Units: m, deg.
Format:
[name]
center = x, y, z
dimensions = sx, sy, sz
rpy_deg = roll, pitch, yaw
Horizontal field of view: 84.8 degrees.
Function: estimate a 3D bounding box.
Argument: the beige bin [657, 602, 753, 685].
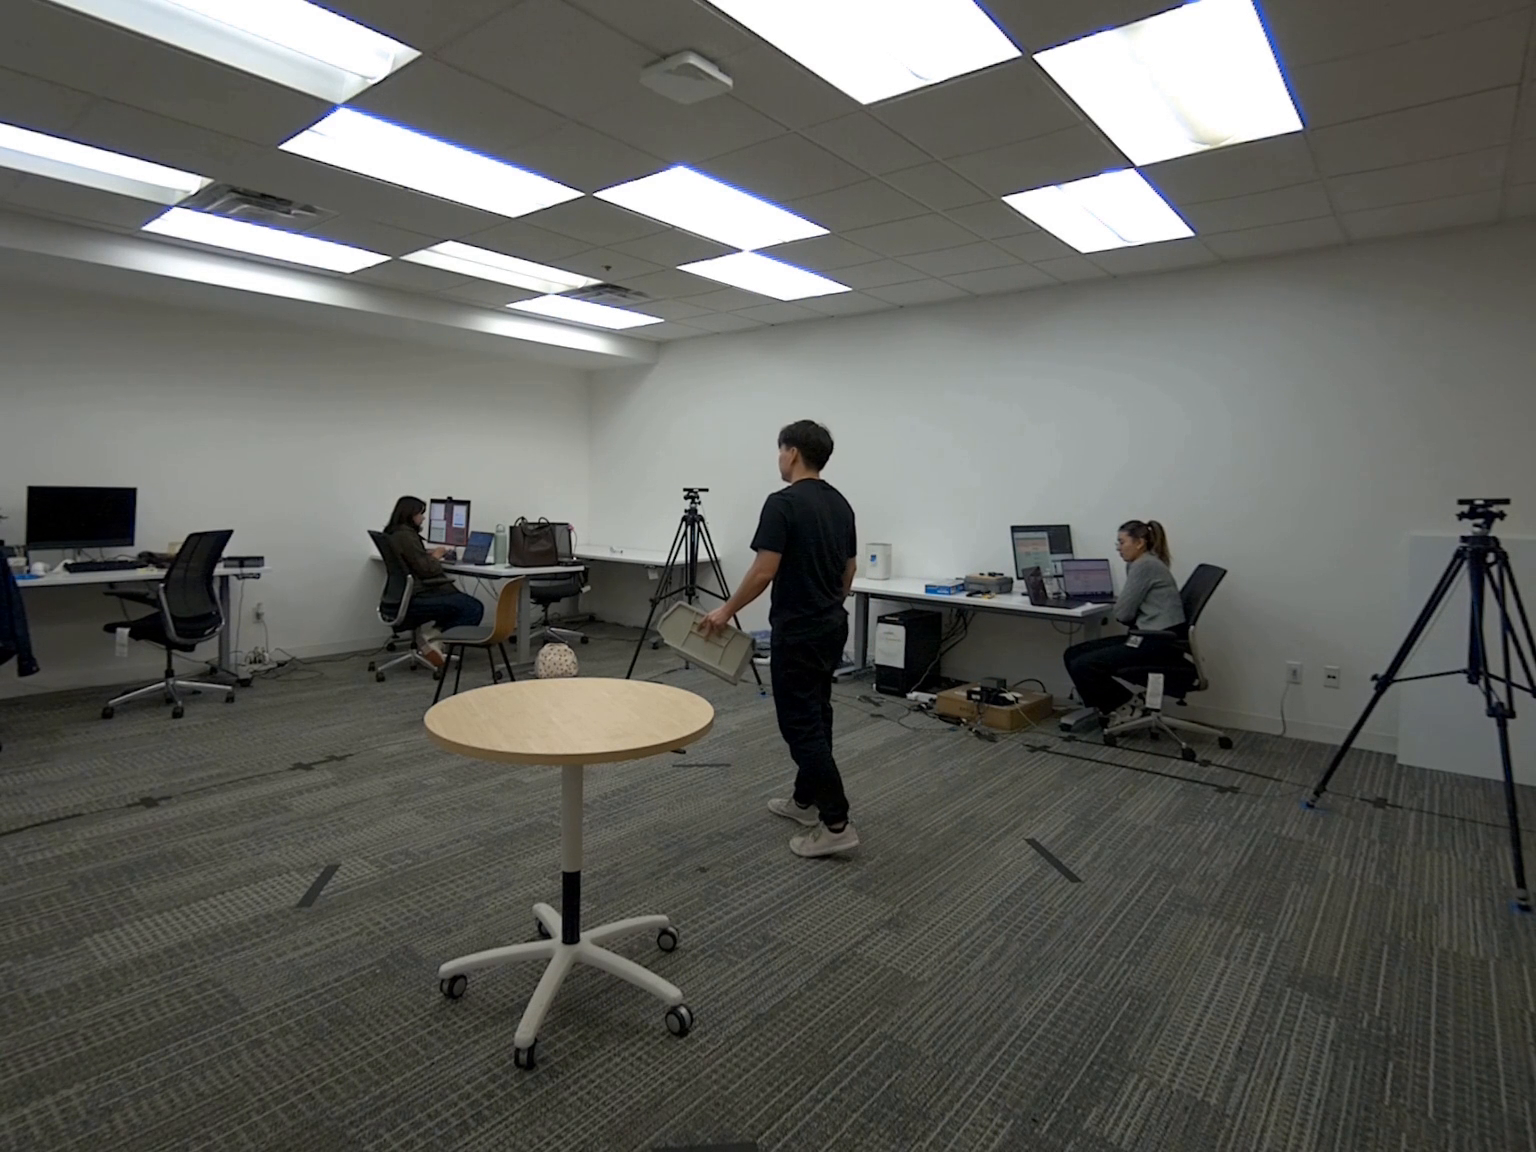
[beige bin]
center = -0.274, 0.279, 3.600
dimensions = 0.381, 0.190, 0.417
rpy_deg = 27, -11, 5
